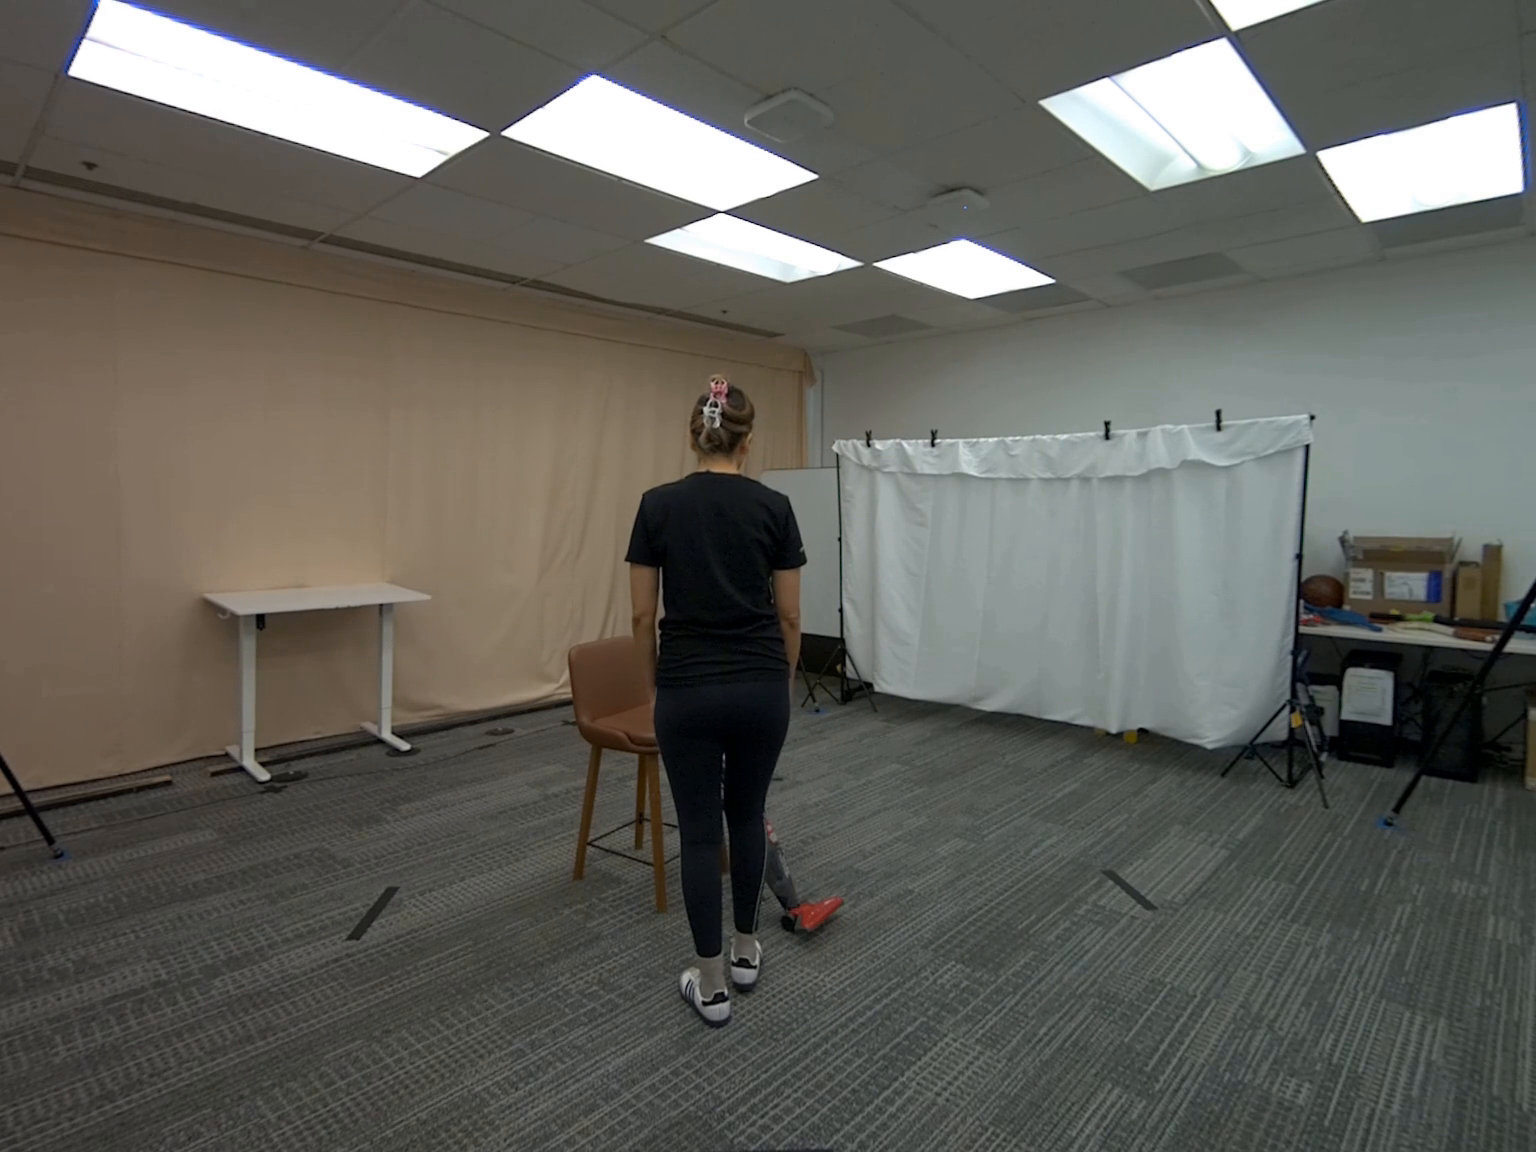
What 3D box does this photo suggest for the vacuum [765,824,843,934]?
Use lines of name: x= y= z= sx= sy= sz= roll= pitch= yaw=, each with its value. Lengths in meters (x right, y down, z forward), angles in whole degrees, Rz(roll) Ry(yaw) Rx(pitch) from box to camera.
vacuum: x=-0.131 y=0.723 z=2.944 sx=0.145 sy=1.072 sz=0.245 roll=-45 pitch=-22 yaw=27
